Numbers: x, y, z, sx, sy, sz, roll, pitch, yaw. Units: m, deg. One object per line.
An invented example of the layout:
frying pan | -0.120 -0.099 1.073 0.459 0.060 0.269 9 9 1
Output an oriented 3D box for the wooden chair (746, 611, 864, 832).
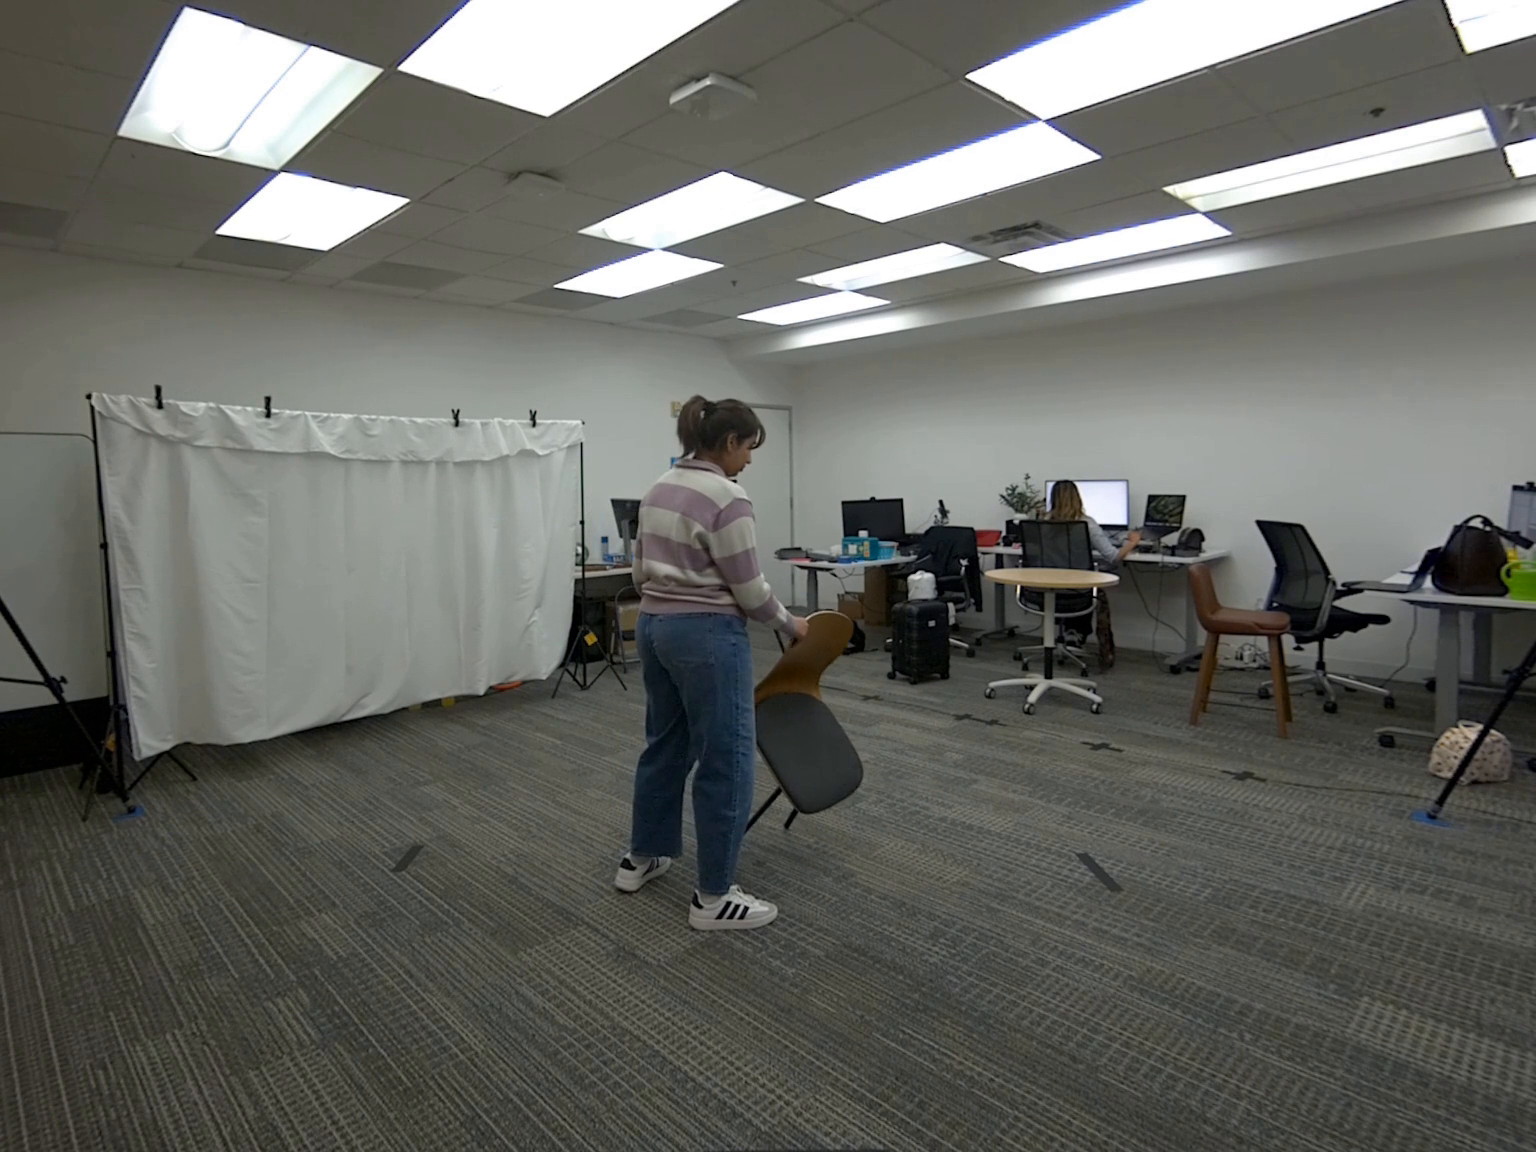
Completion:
wooden chair | 0.093 0.605 3.099 0.466 0.538 0.876 -5 -37 -51
